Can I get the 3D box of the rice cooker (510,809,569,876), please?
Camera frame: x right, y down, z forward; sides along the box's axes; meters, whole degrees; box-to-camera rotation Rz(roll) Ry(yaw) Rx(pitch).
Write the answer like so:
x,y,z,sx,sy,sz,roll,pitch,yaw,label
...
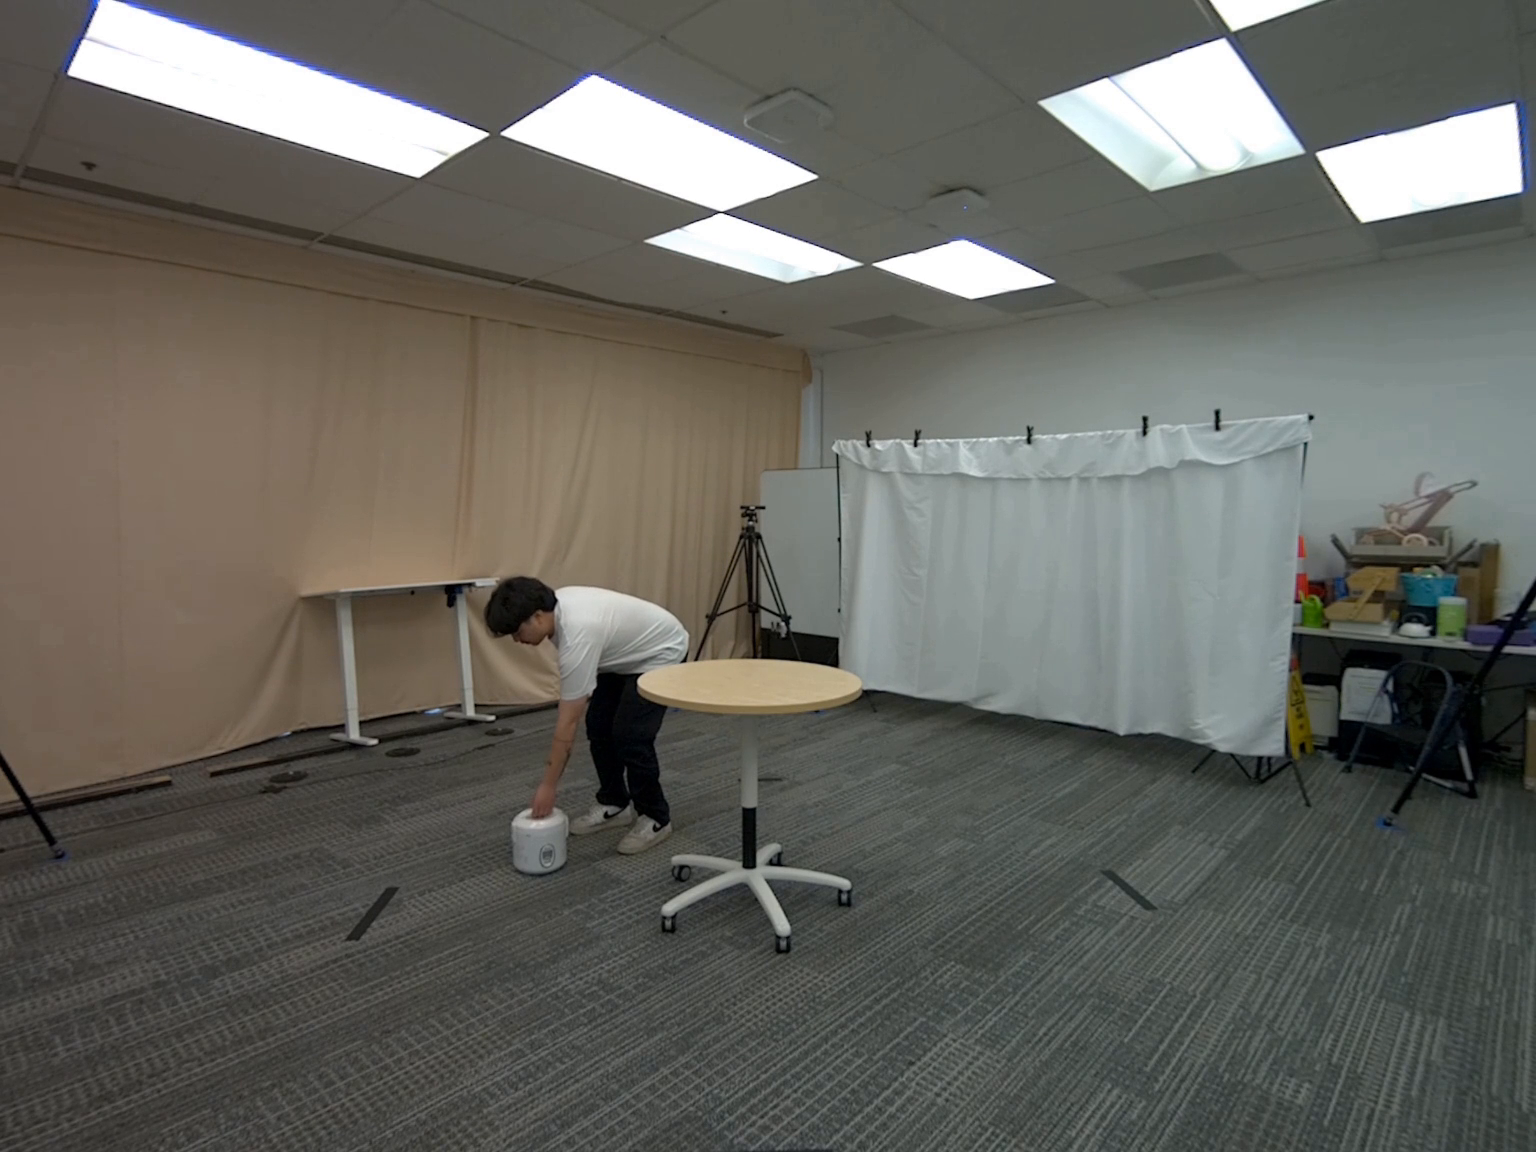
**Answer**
x,y,z,sx,sy,sz,roll,pitch,yaw,label
-0.893,1.017,3.263,0.215,0.232,0.223,-2,3,-28,rice cooker
